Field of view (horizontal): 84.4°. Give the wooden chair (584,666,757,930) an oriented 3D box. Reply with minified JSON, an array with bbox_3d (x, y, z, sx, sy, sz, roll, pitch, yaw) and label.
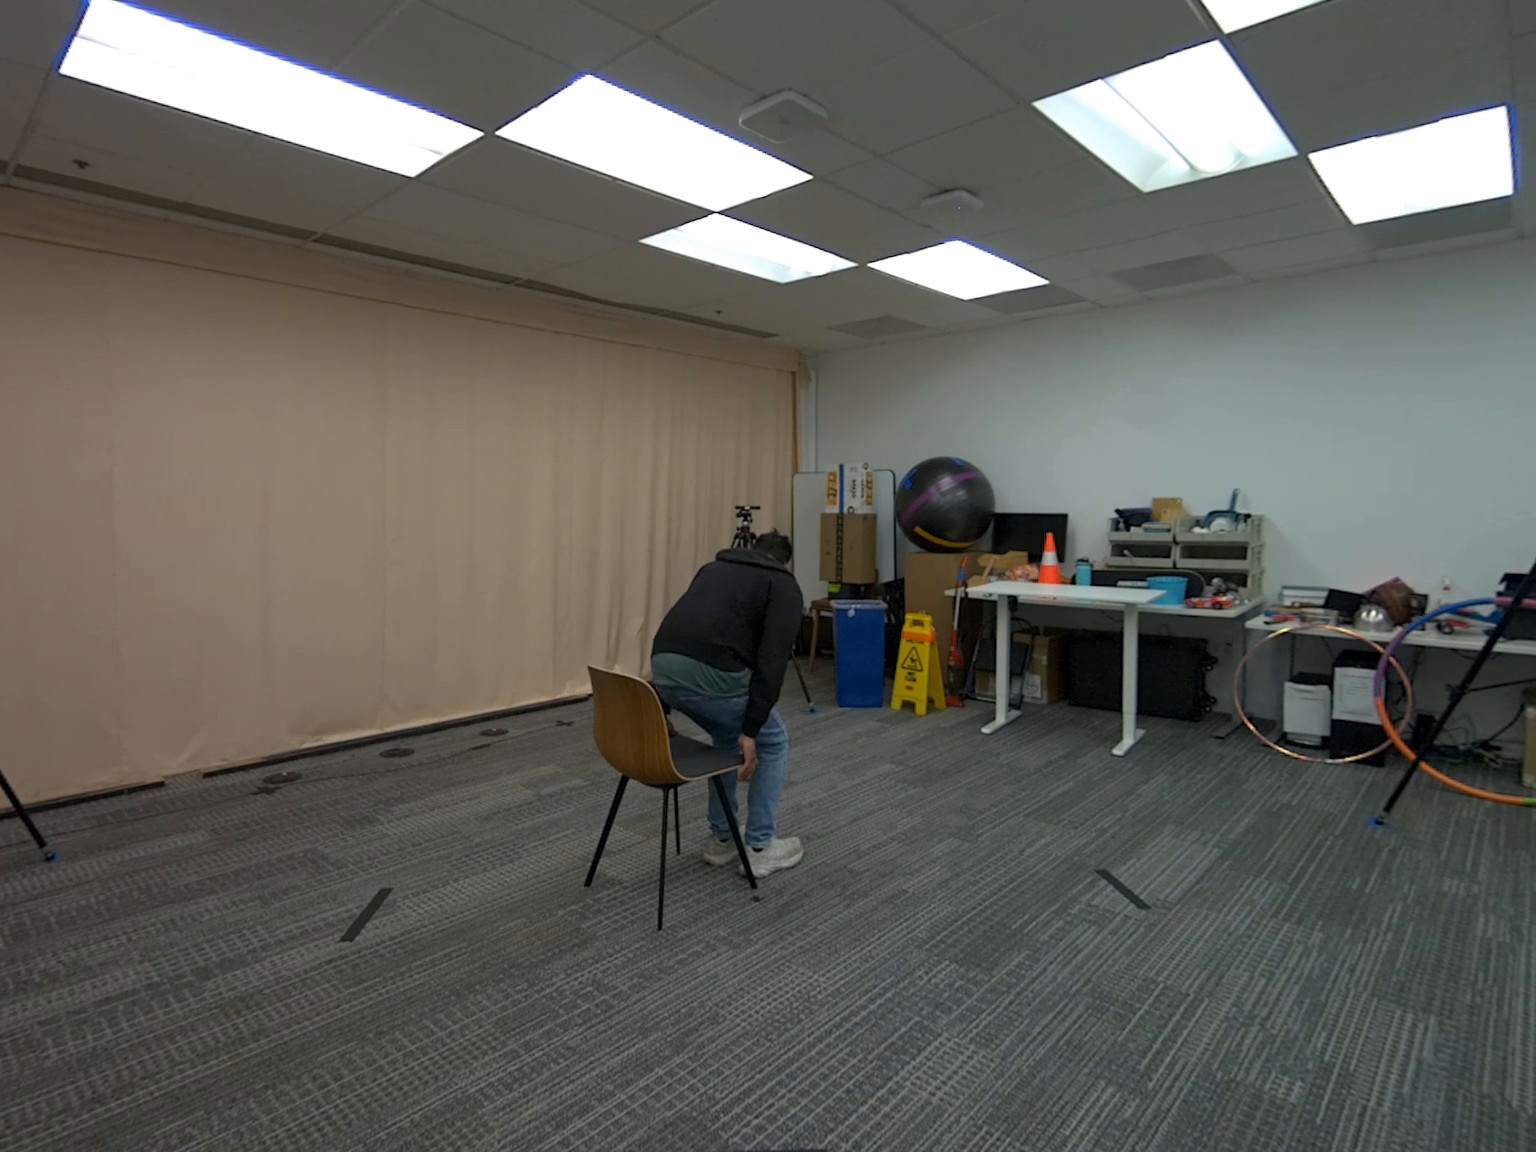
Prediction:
[{"bbox_3d":[-0.345,0.710,3.060,0.508,0.874,0.494,-8,7,-43],"label":"wooden chair"}]
